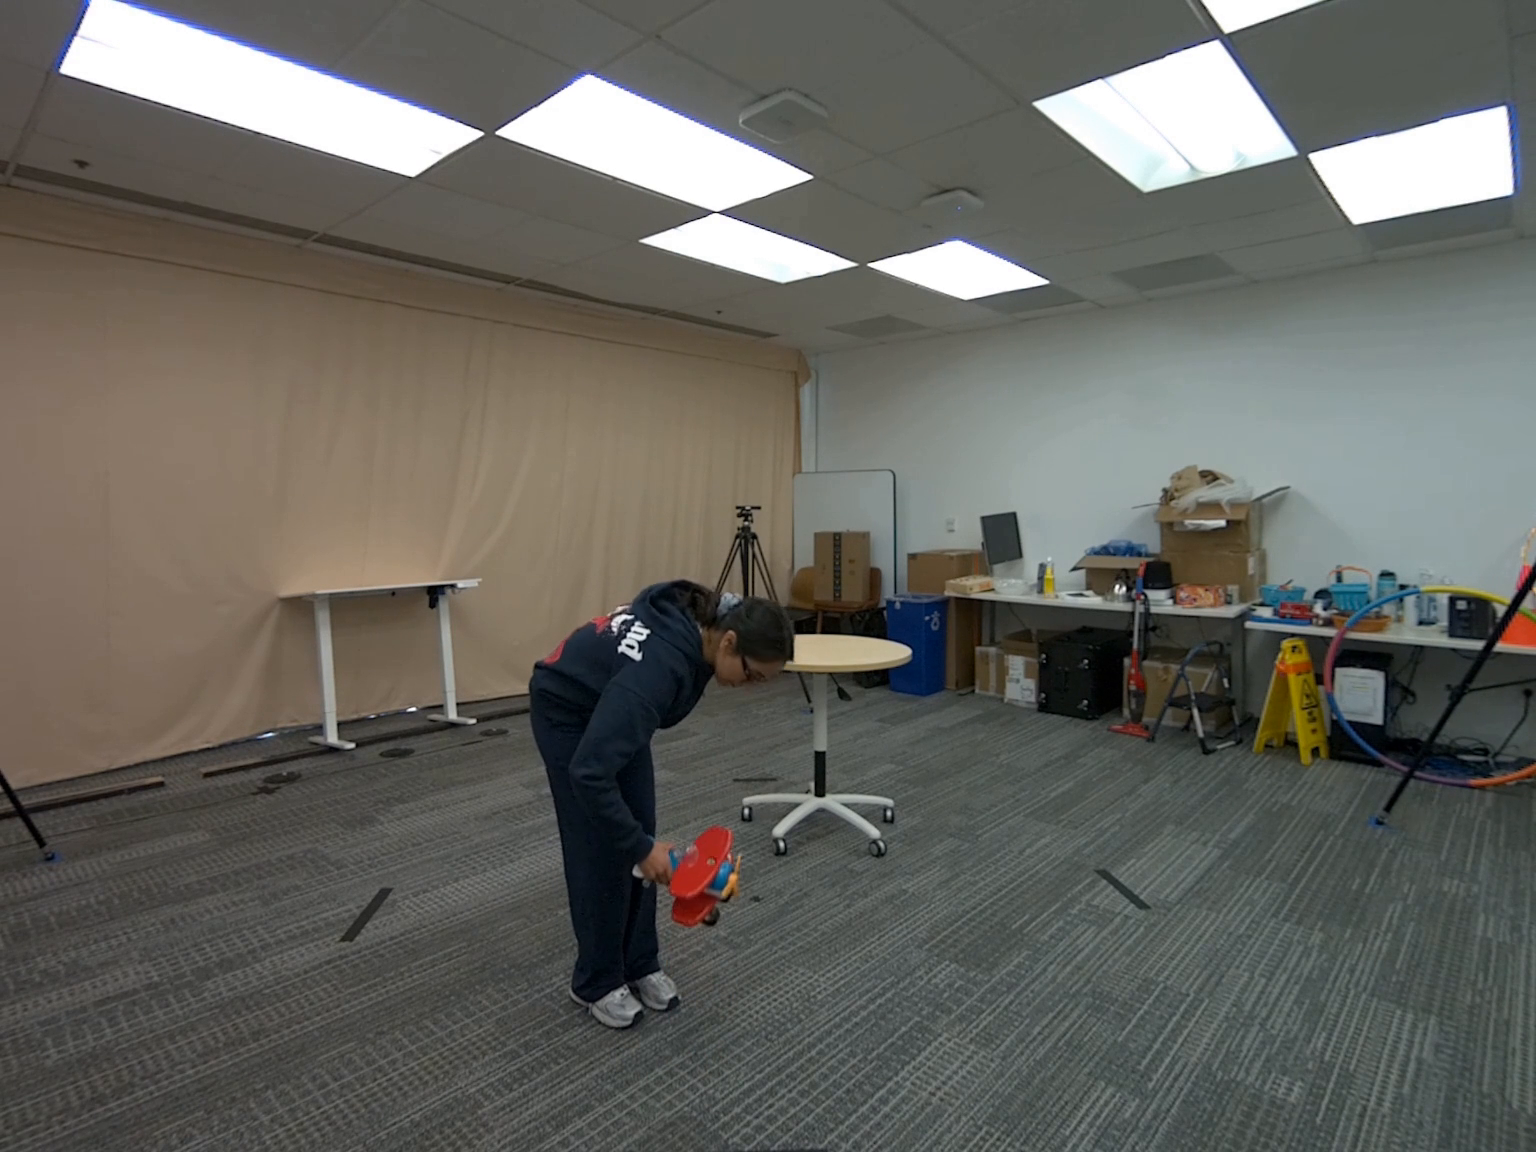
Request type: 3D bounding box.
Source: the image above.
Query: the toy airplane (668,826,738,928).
[{"bbox_3d":[-0.185,0.740,2.064,0.257,0.155,0.256,5,24,-8],"label":"toy airplane"}]
